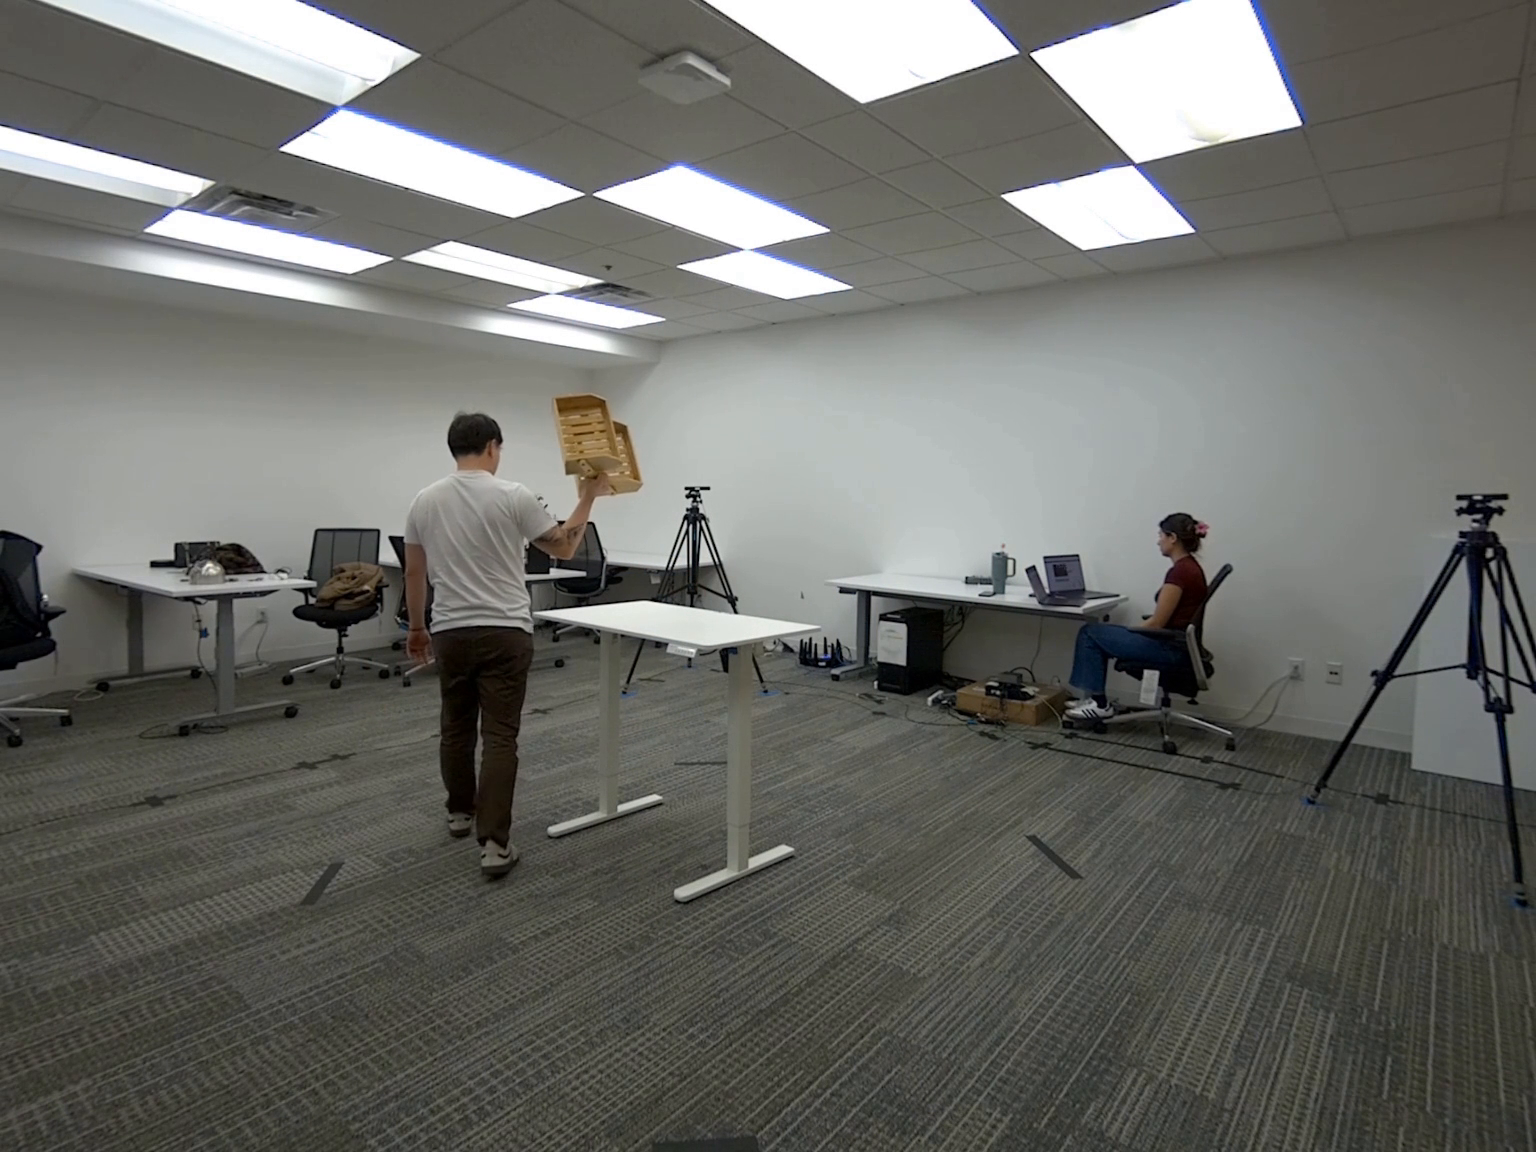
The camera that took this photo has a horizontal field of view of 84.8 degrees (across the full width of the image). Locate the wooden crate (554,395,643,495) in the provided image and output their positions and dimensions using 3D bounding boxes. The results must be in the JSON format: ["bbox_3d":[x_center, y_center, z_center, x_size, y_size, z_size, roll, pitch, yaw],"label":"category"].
[{"bbox_3d":[-0.664,-0.511,3.267,0.298,0.335,0.269,-9,-29,-16],"label":"wooden crate"}]
